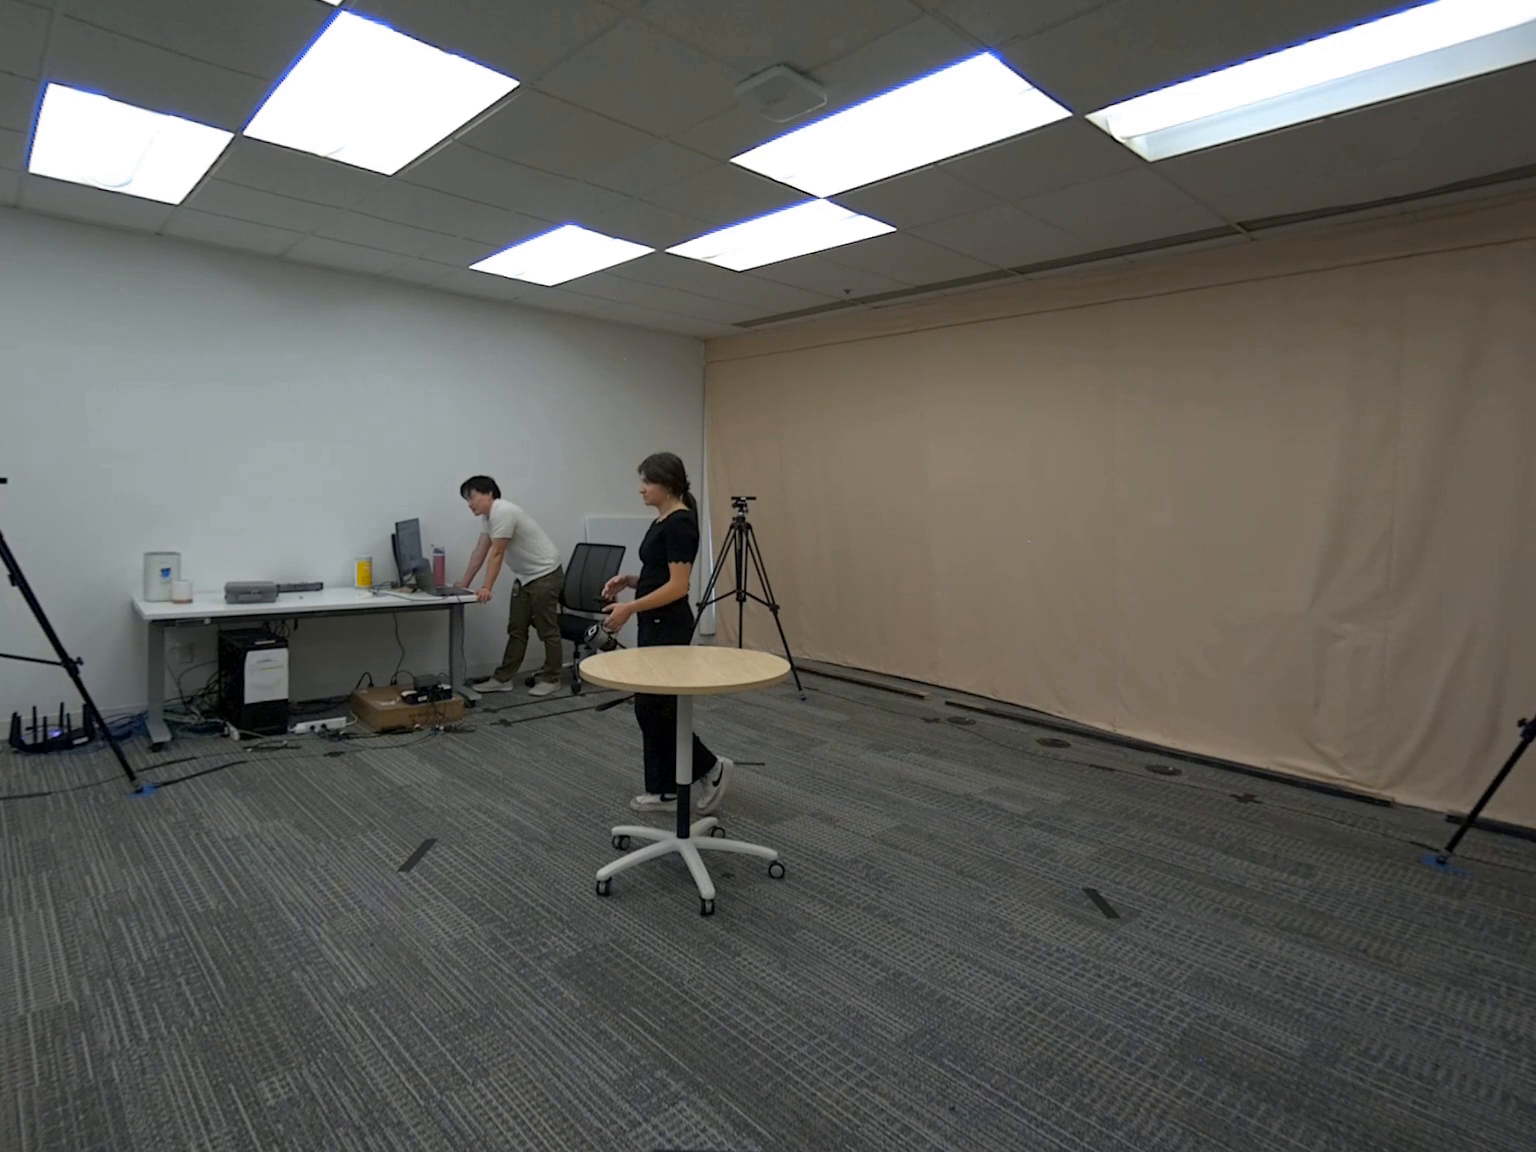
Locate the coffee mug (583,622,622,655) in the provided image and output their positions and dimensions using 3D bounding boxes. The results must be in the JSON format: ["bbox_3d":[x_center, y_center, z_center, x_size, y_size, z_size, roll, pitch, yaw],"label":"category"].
[{"bbox_3d":[-0.674,0.263,3.540,0.197,0.122,0.090,39,-20,-31],"label":"coffee mug"}]
